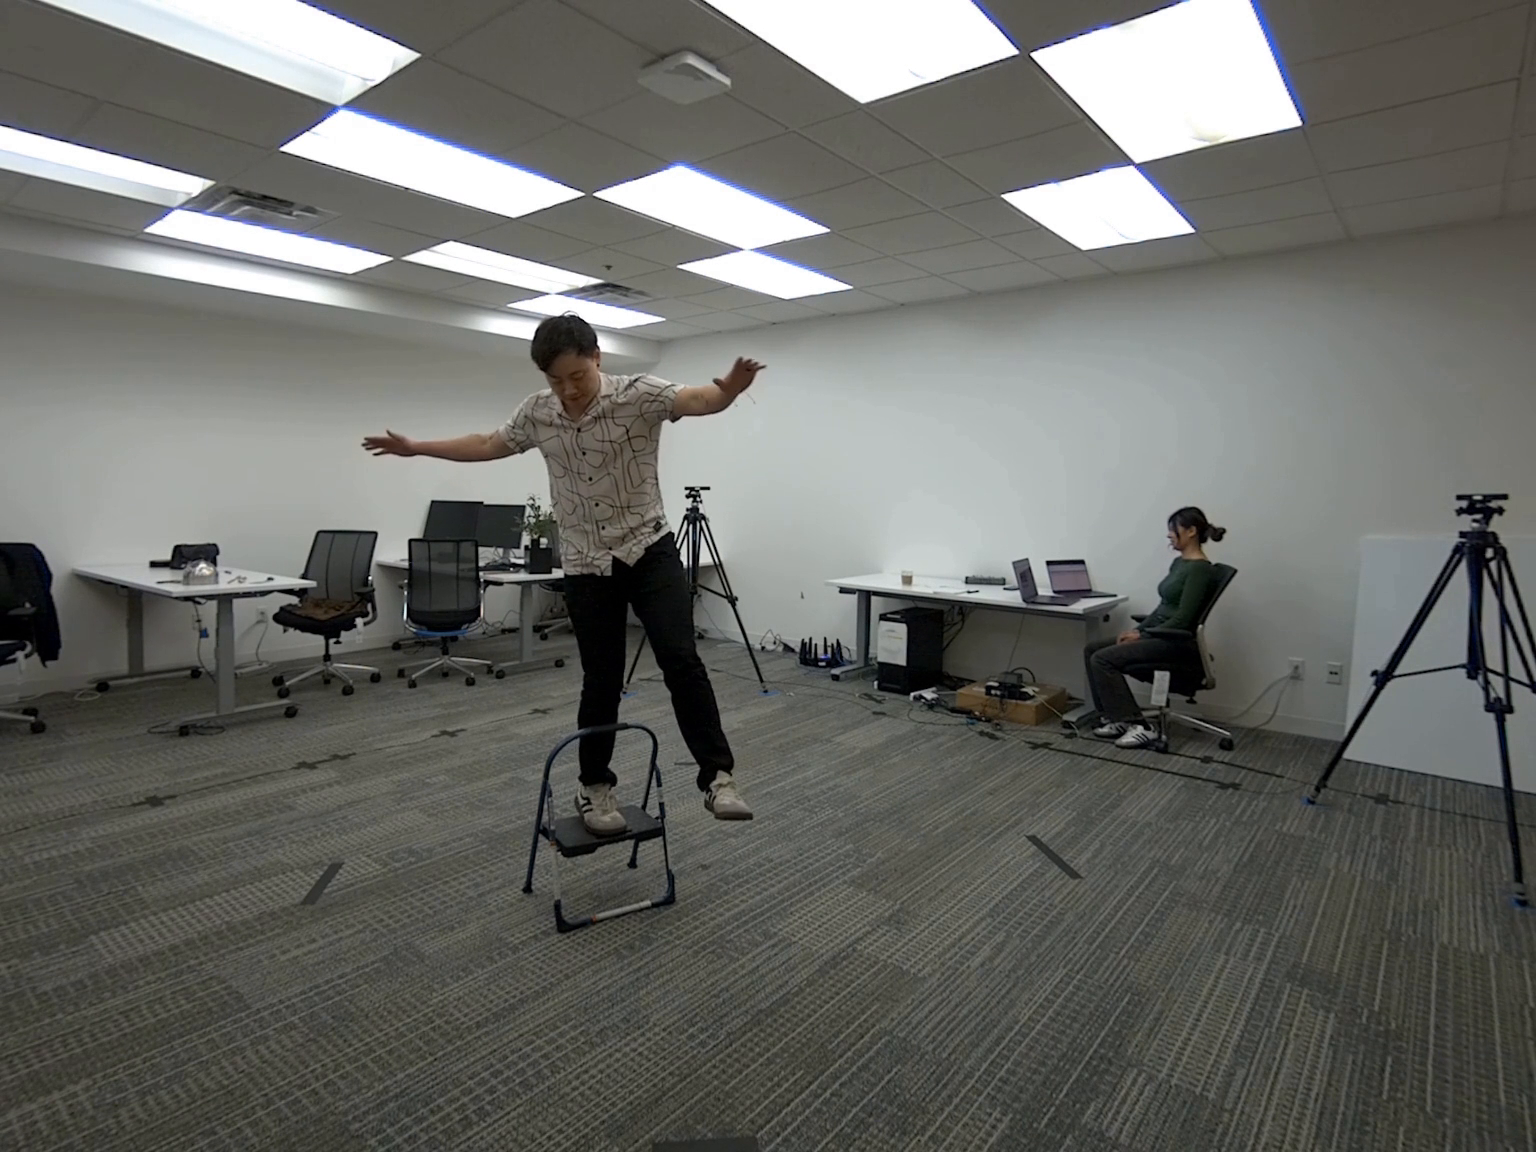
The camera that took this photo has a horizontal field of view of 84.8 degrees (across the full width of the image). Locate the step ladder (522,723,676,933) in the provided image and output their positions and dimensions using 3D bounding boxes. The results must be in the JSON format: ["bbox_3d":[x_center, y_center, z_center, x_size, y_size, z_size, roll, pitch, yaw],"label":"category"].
[{"bbox_3d":[-0.580,0.782,2.868,0.418,0.604,0.360,-2,4,-34],"label":"step ladder"}]
